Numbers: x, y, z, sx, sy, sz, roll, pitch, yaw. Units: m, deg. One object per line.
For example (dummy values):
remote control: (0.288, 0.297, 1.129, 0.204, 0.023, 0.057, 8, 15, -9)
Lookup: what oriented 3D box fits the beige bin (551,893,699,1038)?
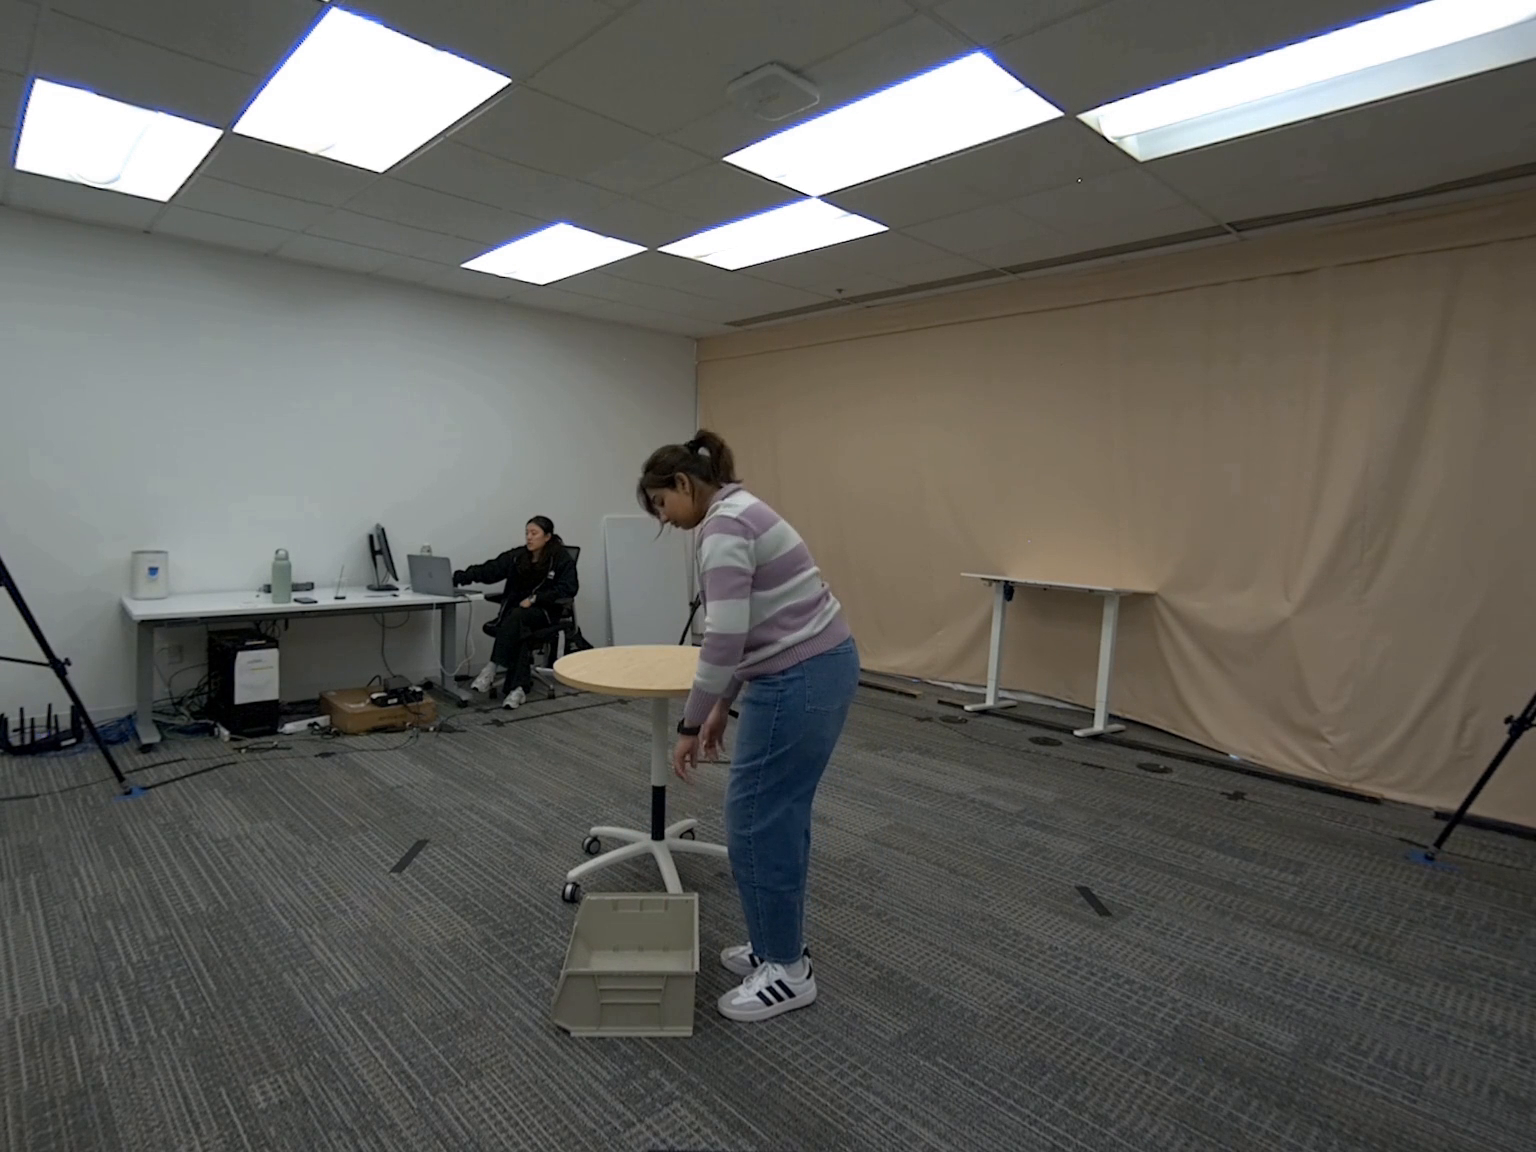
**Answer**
beige bin: (-0.386, 1.074, 2.363, 0.376, 0.188, 0.424, 2, 5, -4)
